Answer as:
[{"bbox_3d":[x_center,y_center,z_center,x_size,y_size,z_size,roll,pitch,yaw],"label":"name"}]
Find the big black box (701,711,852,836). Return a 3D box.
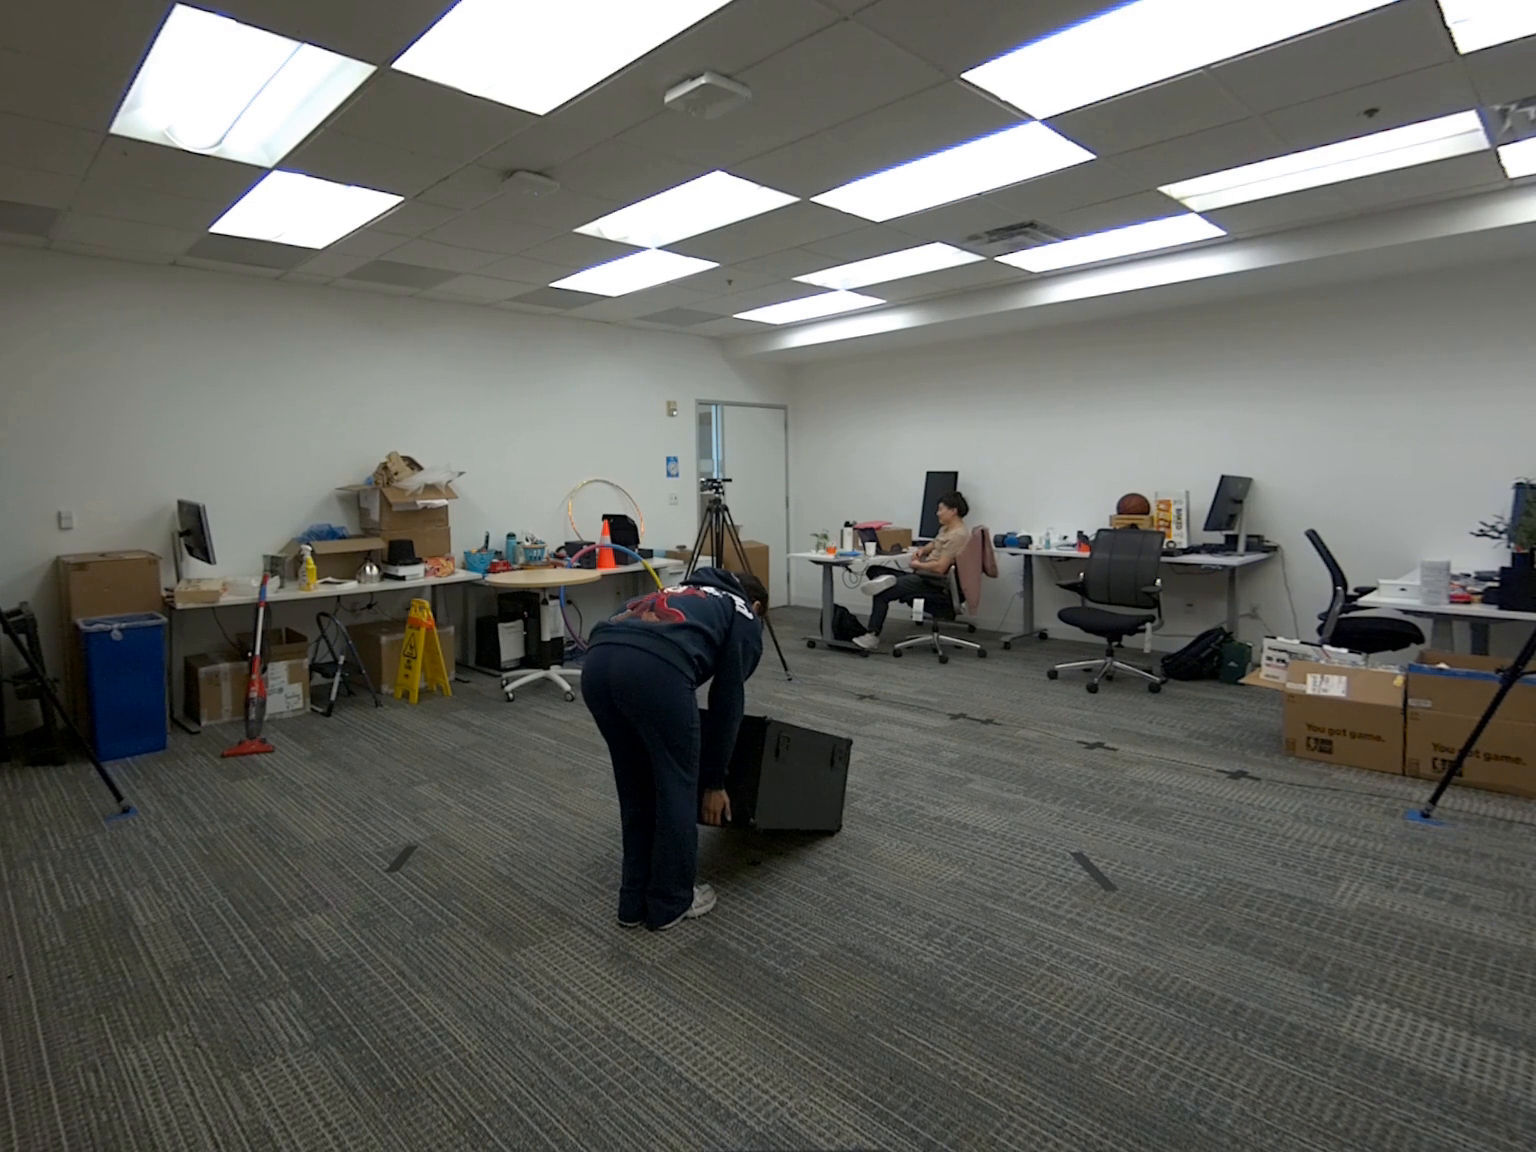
[{"bbox_3d":[-0.044,0.748,3.251,0.534,0.400,0.832,2,-14,28],"label":"big black box"}]
